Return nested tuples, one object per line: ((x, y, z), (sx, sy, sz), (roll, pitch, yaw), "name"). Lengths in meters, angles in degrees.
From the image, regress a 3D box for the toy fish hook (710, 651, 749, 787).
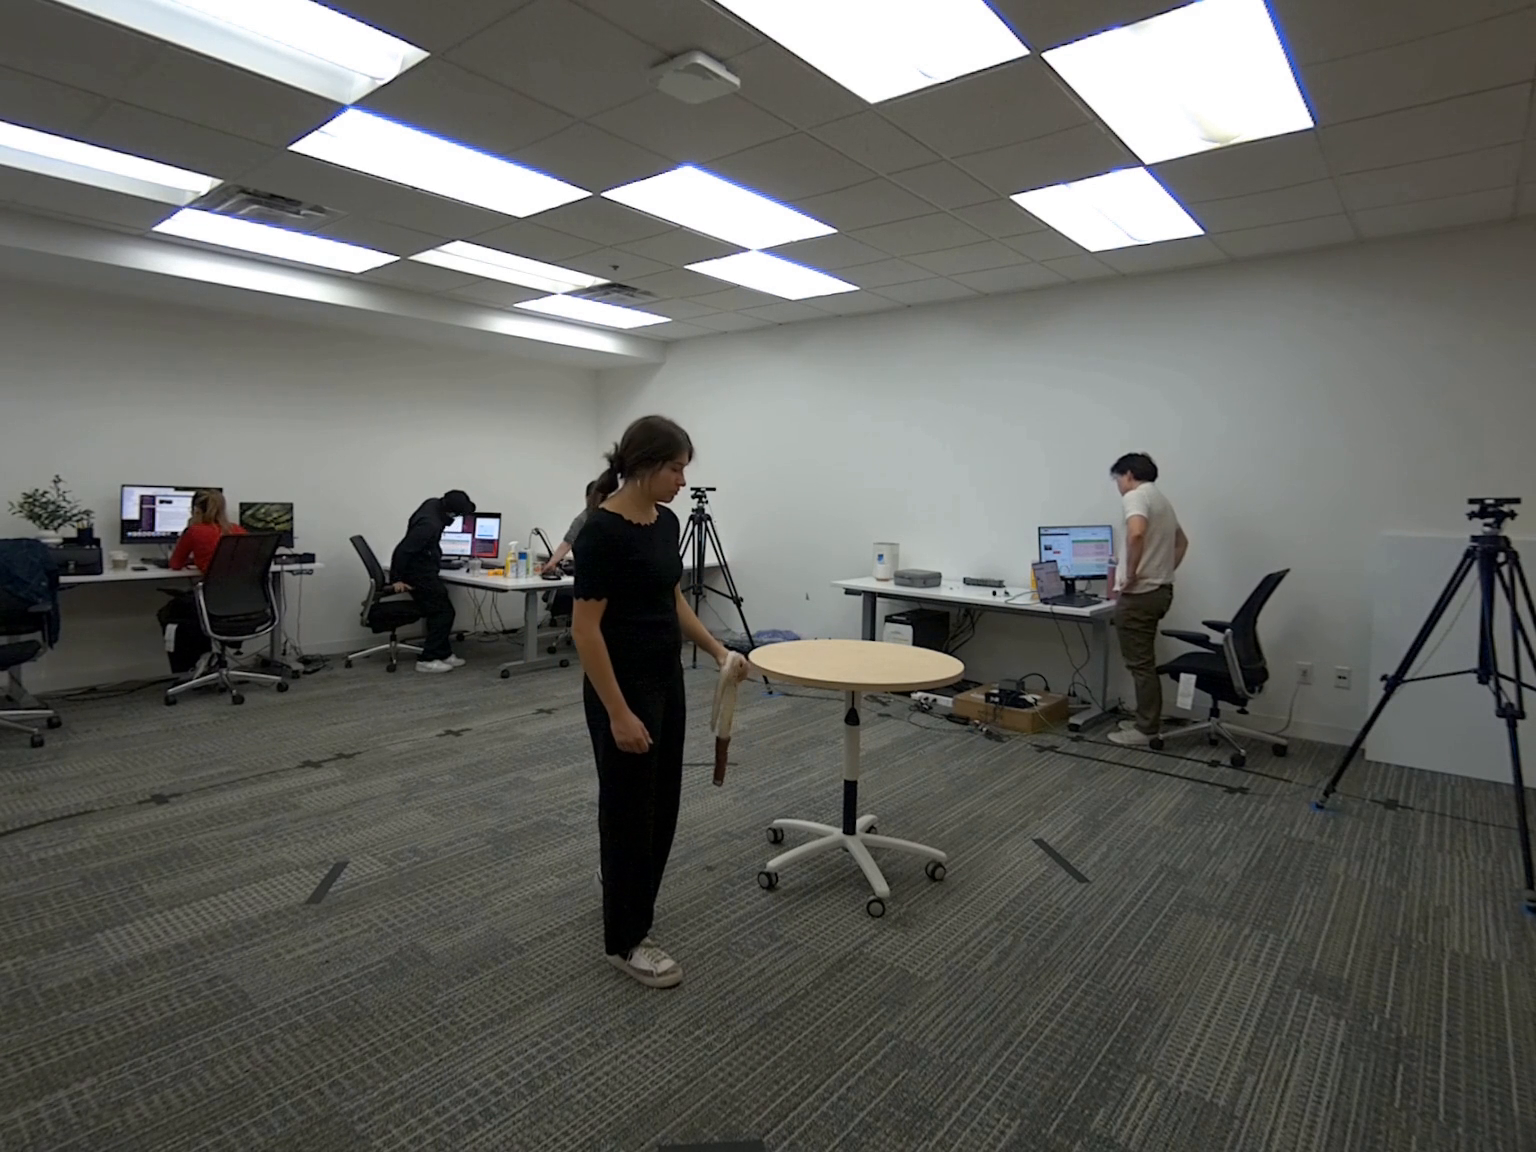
((-0.153, 0.455, 2.544), (0.049, 0.497, 0.224), (12, 26, 15), "toy fish hook")
